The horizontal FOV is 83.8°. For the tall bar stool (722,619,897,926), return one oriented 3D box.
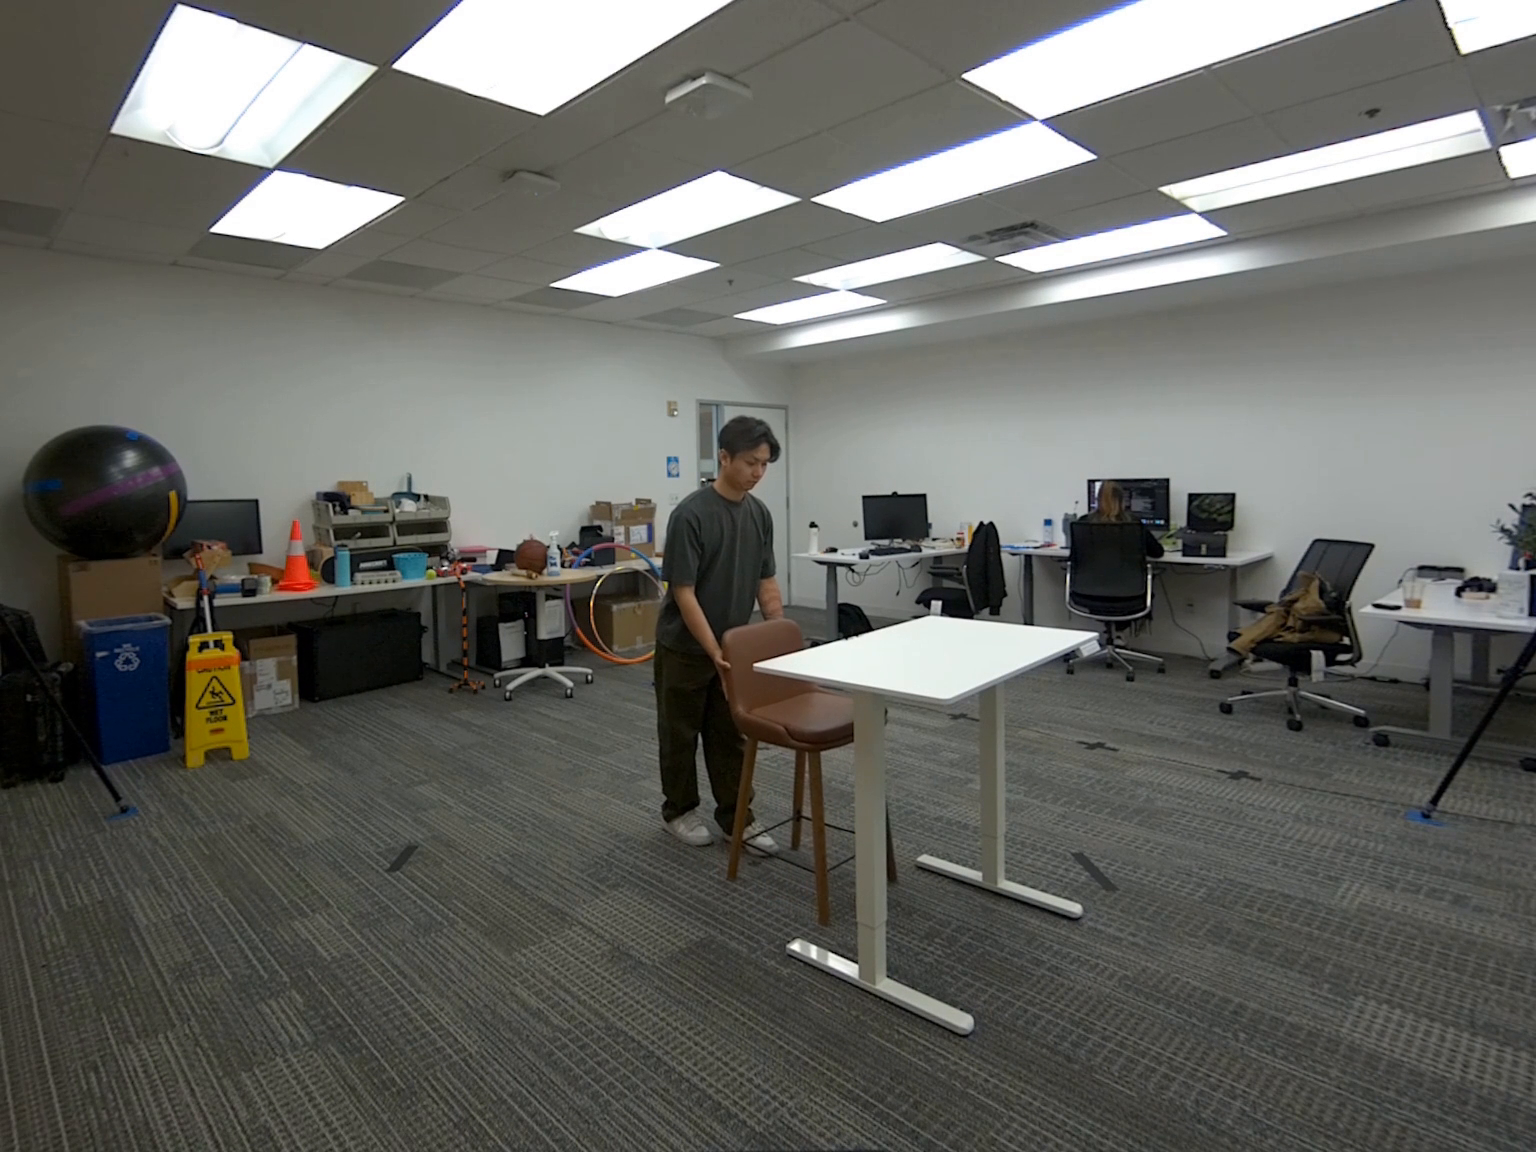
[{"bbox_3d":[0.134,0.619,2.938,0.481,0.887,0.444,0,4,43],"label":"tall bar stool"}]
